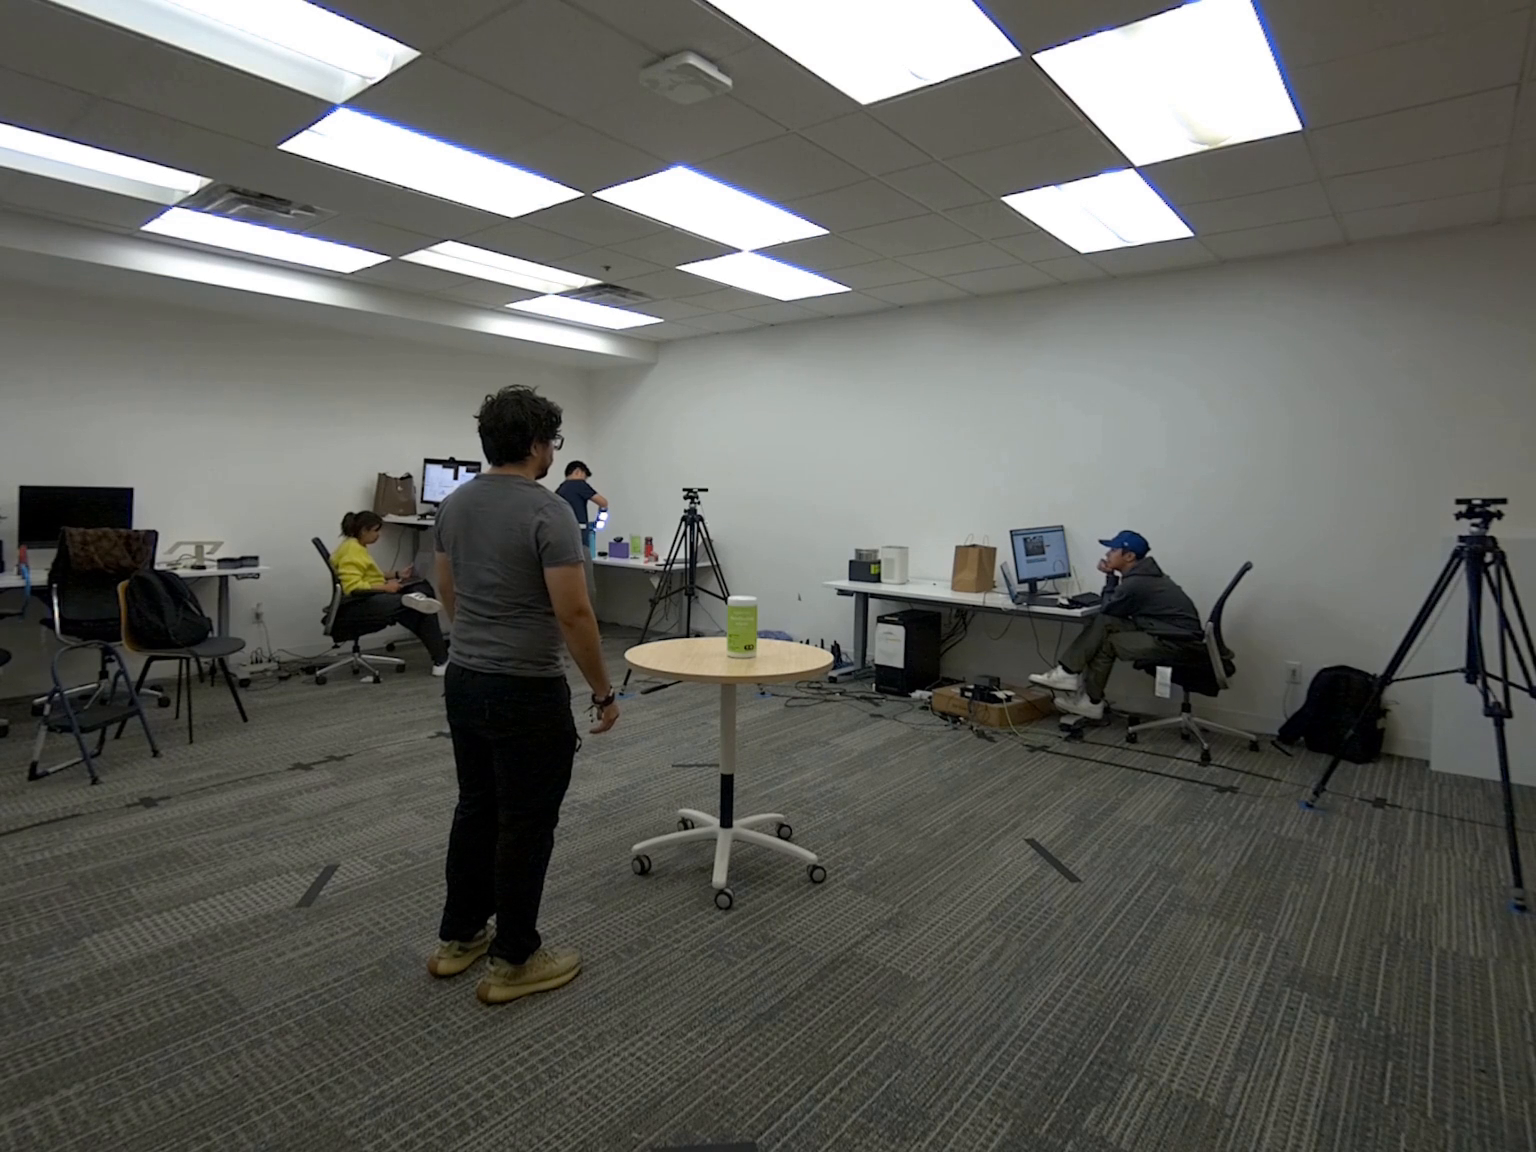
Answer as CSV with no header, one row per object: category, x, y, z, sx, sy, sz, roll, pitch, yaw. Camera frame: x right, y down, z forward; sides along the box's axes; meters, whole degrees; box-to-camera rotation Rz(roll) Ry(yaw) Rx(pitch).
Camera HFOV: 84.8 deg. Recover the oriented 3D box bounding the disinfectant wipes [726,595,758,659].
disinfectant wipes,-0.105,0.181,3.100,0.118,0.217,0.118,0,3,-2
